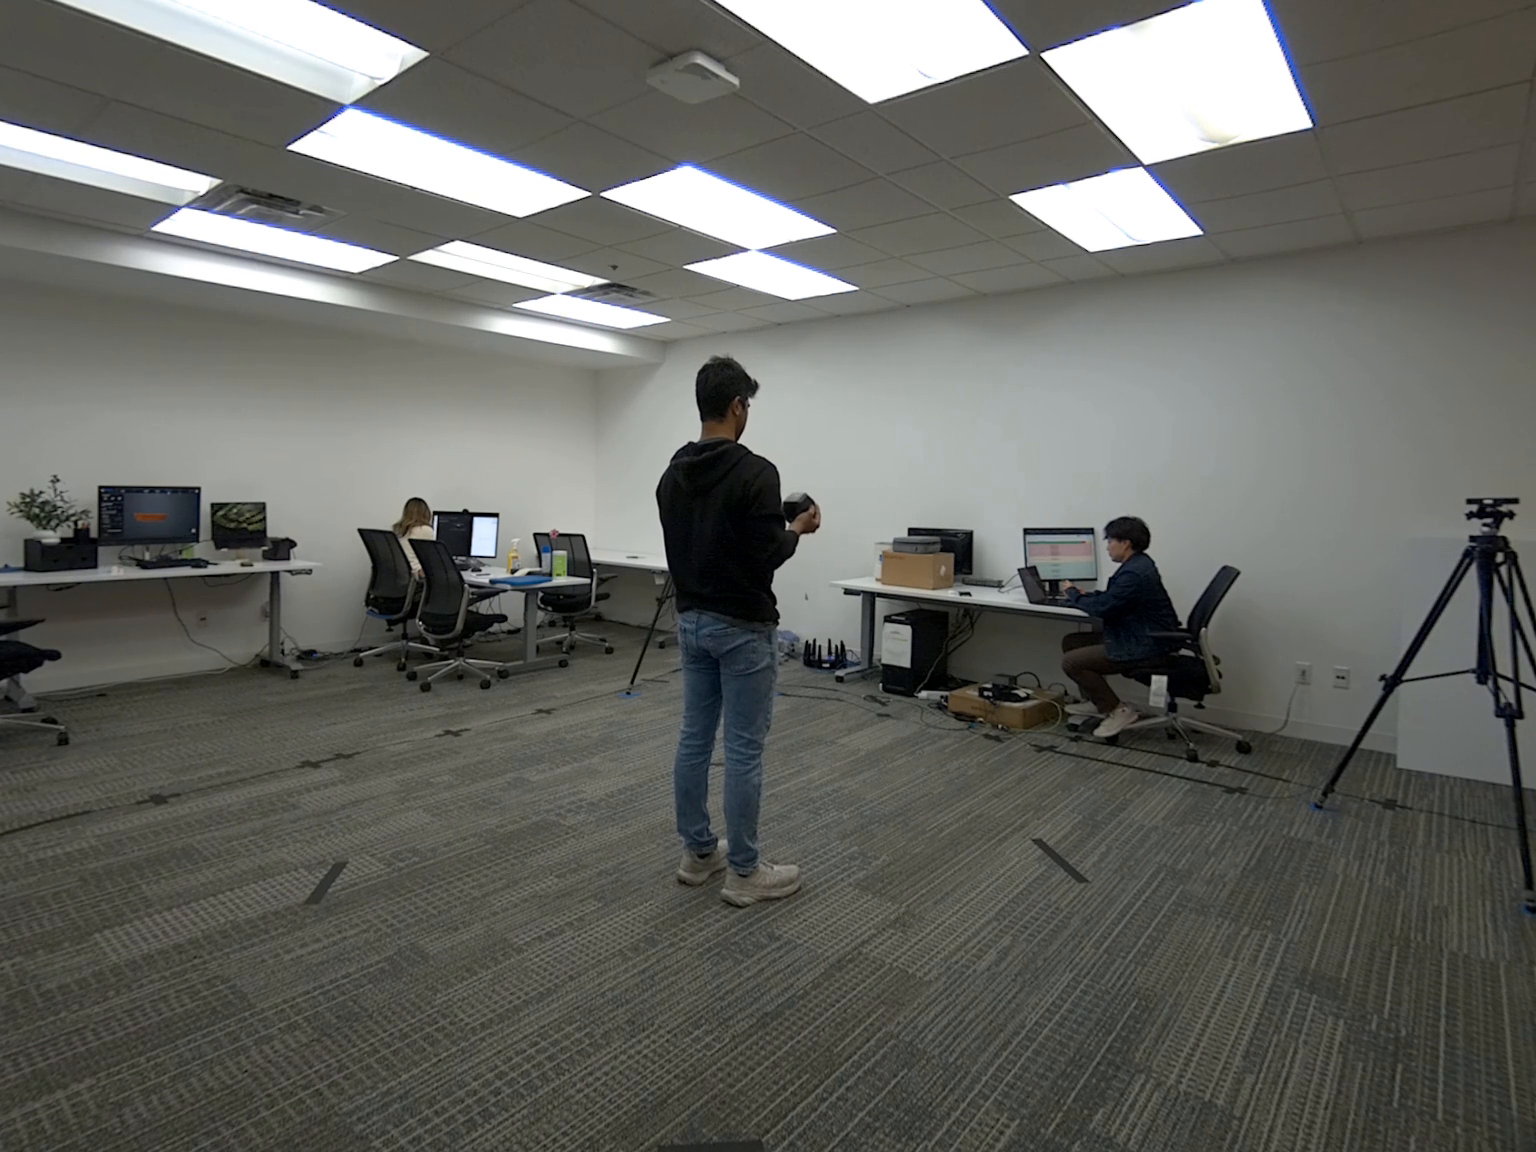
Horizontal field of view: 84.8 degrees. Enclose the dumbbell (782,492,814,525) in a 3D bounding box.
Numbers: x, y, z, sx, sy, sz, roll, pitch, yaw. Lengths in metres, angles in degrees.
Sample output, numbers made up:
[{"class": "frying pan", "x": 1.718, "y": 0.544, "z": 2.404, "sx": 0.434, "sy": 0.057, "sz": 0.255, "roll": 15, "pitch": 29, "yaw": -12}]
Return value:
[{"class": "dumbbell", "x": 0.016, "y": -0.241, "z": 3.121, "sx": 0.303, "sy": 0.110, "sz": 0.118, "roll": 3, "pitch": -24, "yaw": 44}]
